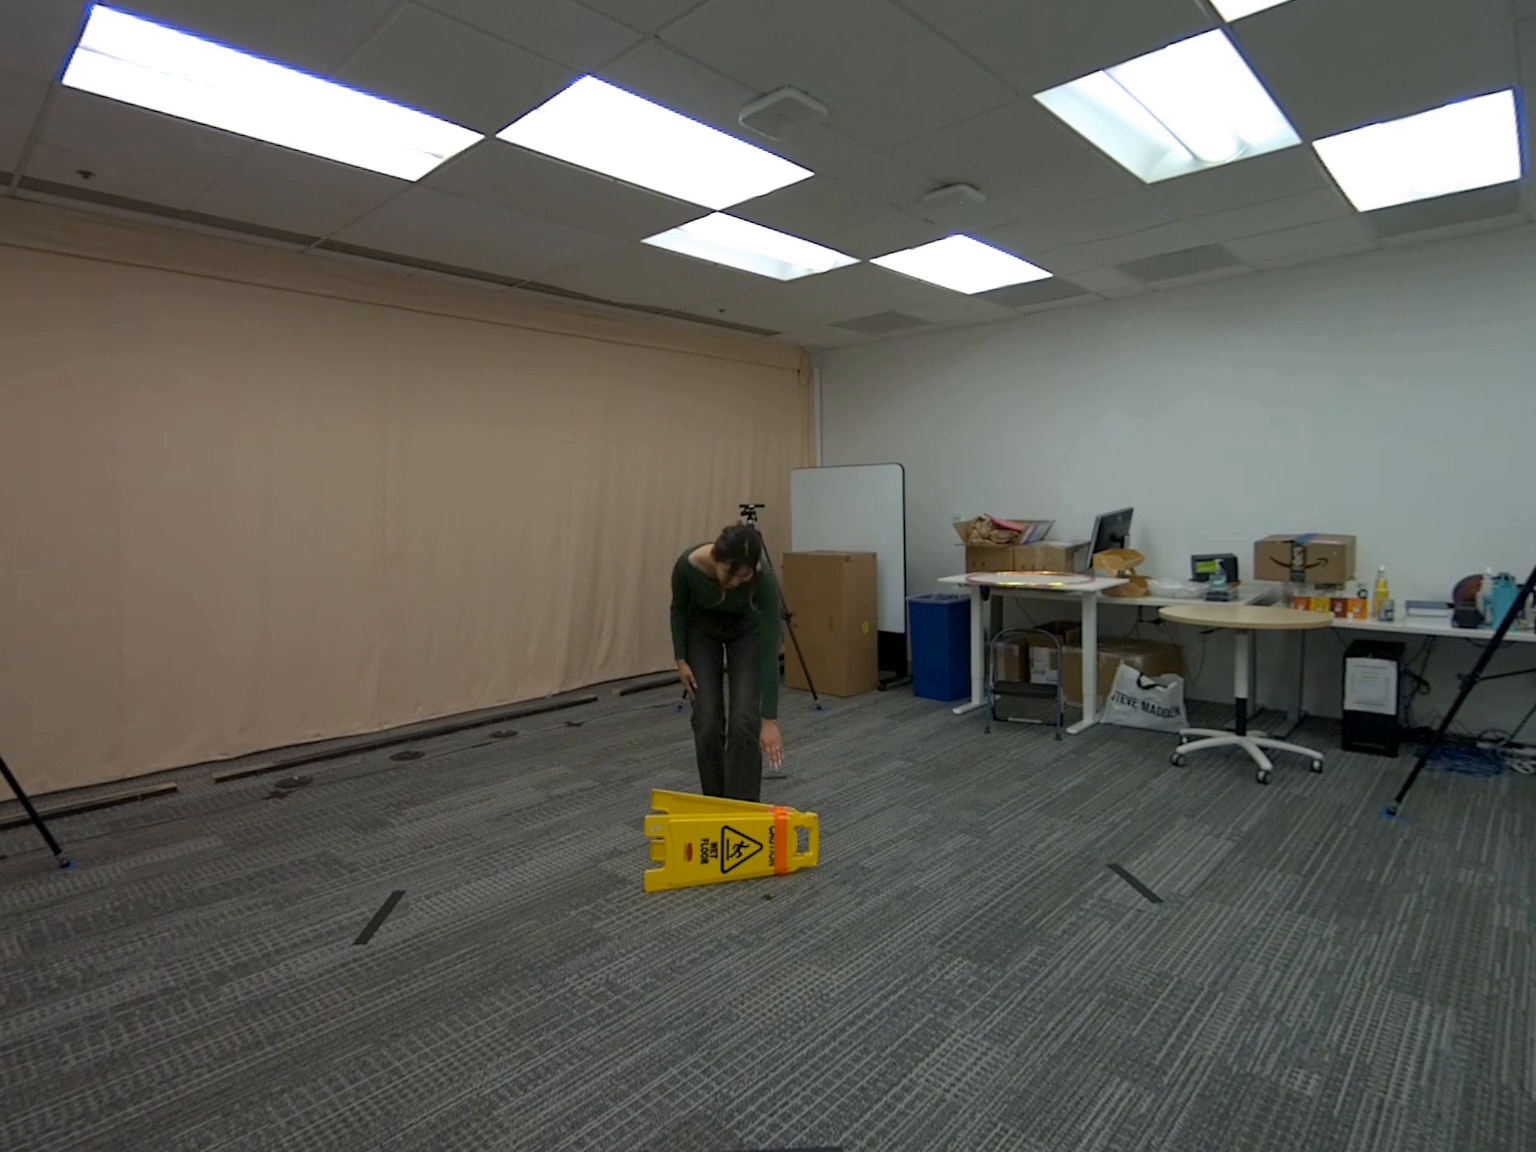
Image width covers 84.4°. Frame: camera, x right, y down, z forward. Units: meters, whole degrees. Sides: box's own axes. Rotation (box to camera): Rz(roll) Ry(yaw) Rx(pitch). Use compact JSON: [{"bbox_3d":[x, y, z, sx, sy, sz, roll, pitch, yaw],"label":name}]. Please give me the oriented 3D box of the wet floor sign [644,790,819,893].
[{"bbox_3d":[-0.124,0.991,3.184,0.645,0.282,0.290,1,3,-1],"label":"wet floor sign"}]
